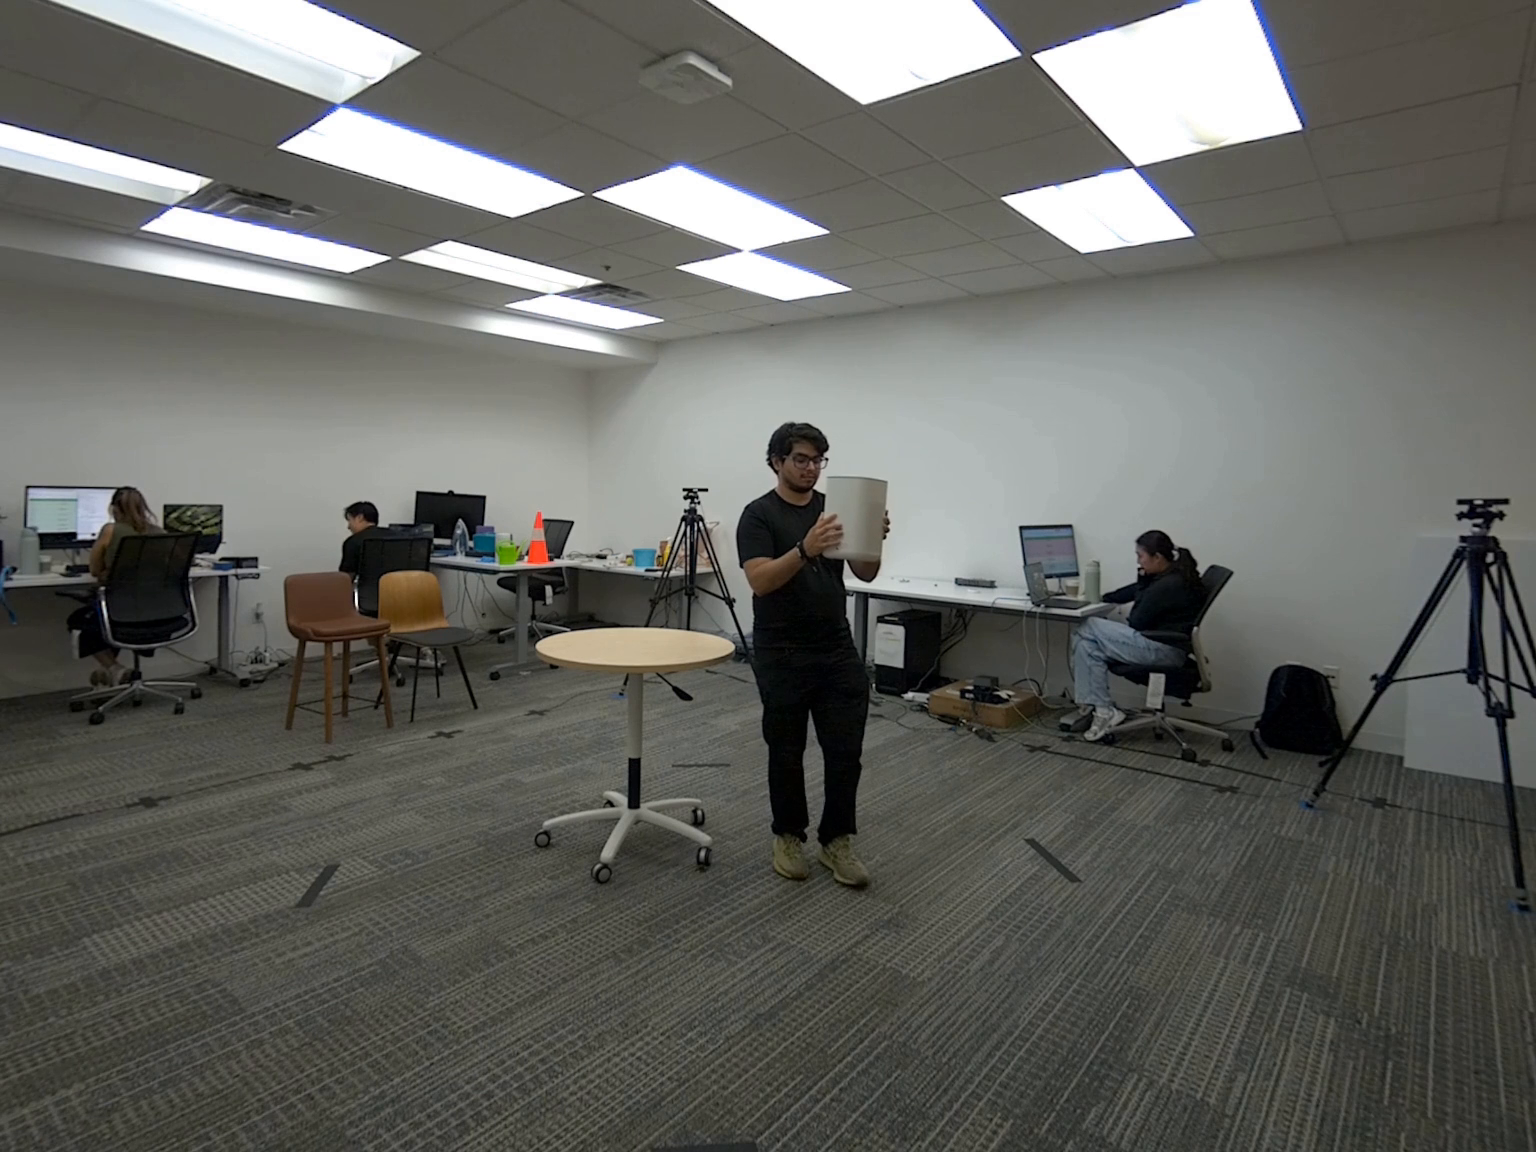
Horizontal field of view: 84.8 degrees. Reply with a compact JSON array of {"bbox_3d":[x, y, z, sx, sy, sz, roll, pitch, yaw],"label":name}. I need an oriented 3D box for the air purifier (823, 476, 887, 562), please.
[{"bbox_3d":[0.272,-0.186,2.767,0.177,0.265,0.166,6,0,37],"label":"air purifier"}]
